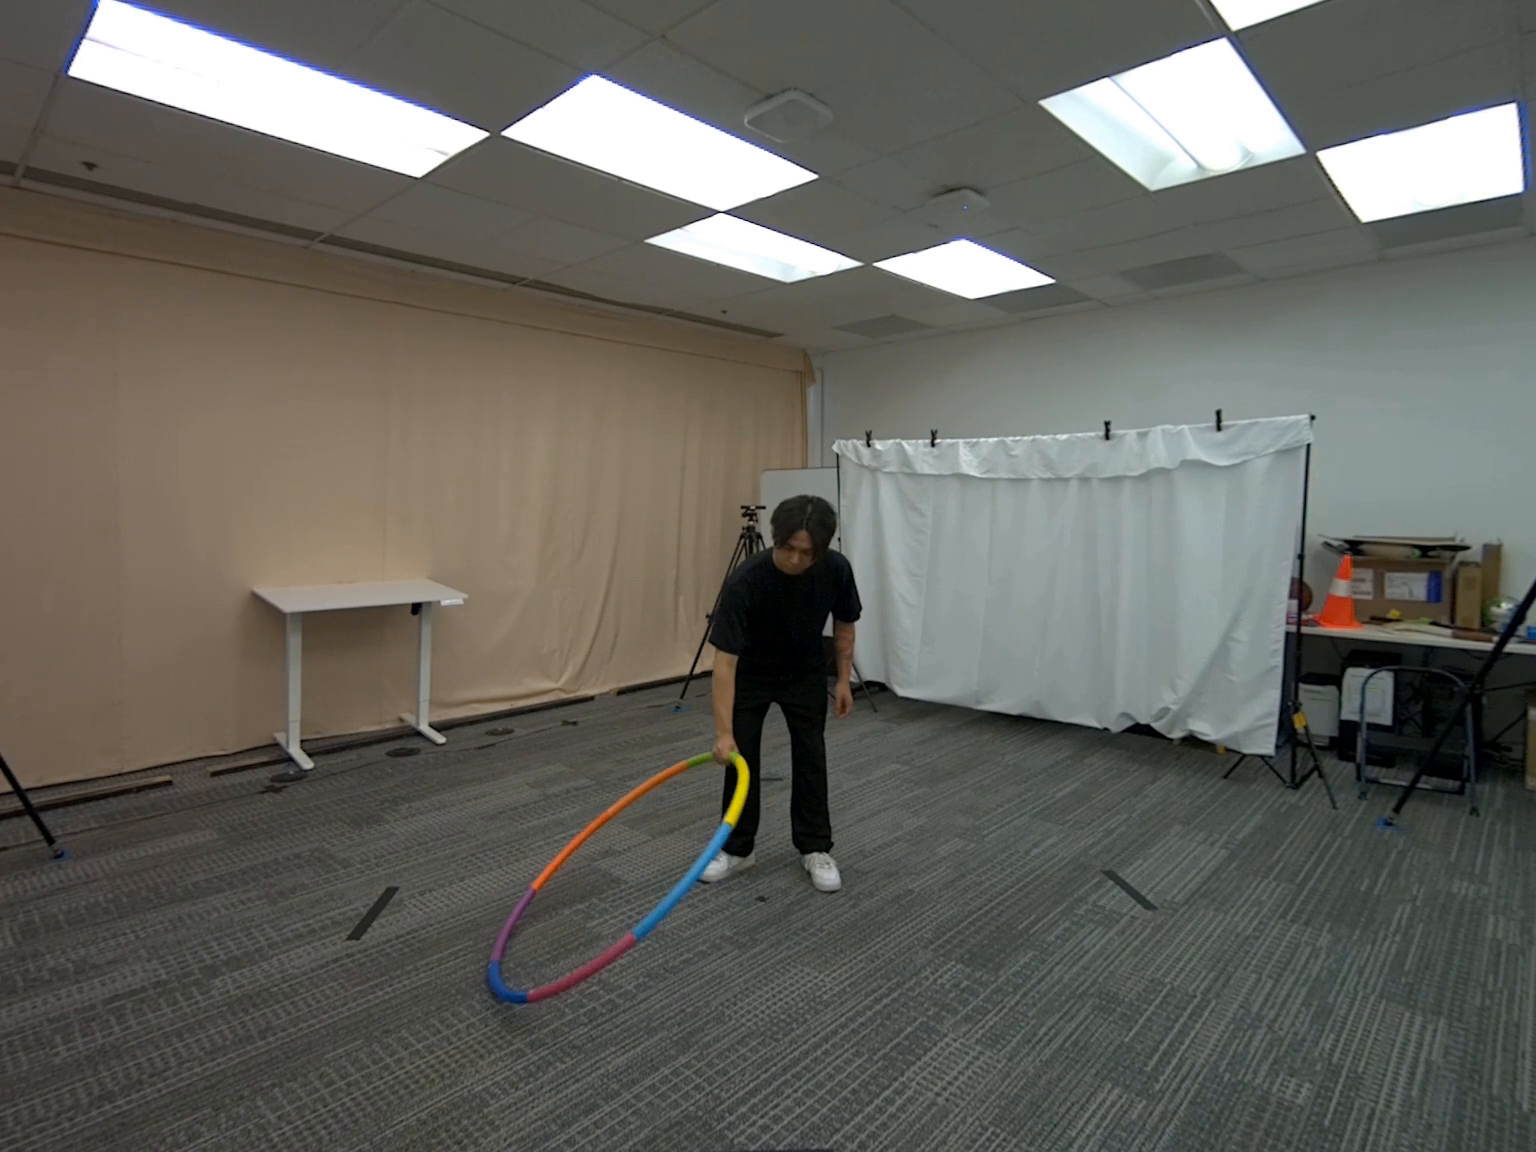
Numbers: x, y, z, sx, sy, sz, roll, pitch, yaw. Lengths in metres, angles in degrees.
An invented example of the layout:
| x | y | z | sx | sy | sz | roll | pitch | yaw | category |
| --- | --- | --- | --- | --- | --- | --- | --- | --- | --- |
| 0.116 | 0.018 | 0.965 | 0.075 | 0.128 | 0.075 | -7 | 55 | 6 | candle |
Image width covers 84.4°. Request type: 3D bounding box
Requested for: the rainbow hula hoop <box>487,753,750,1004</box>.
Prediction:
| x | y | z | sx | sy | sz | roll | pitch | yaw | category |
| --- | --- | --- | --- | --- | --- | --- | --- | --- | --- |
| -0.461 | 0.881 | 2.594 | 0.981 | 0.035 | 0.986 | -36 | 10 | 4 | rainbow hula hoop |
